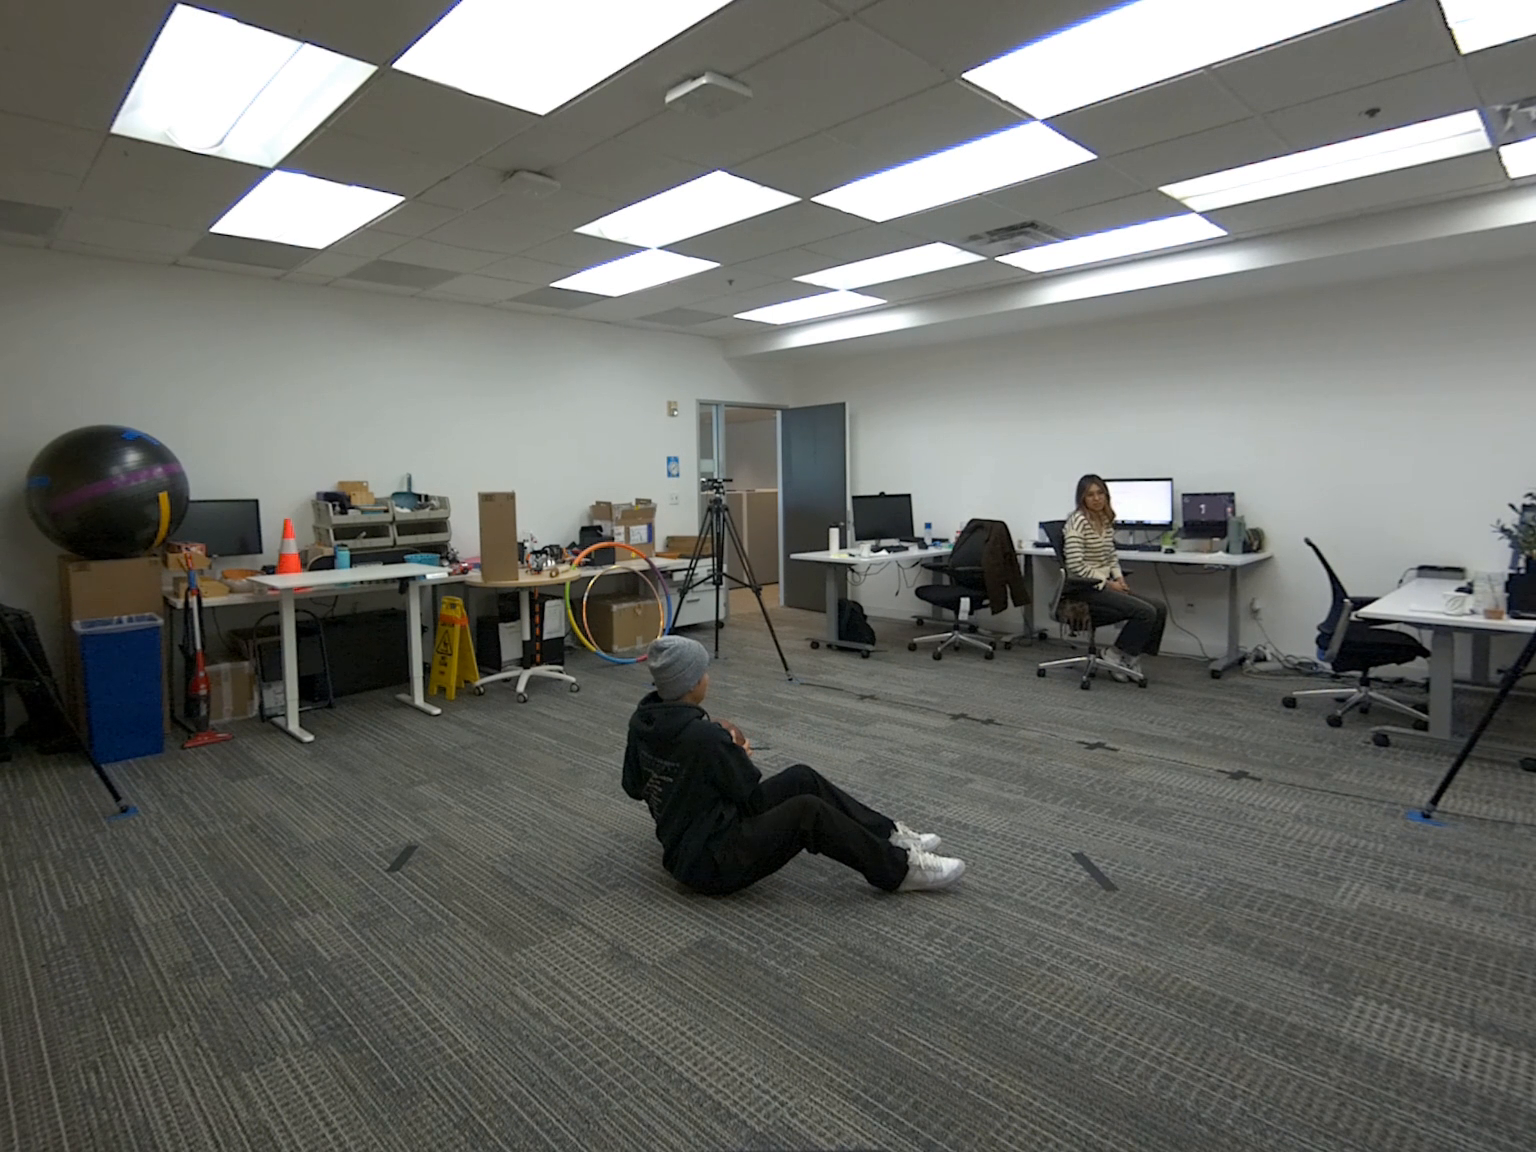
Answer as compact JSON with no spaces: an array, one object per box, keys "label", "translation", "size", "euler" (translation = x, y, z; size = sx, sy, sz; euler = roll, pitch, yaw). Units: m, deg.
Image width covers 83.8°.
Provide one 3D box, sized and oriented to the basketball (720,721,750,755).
[{"label":"basketball","translation":[-0.193,0.685,3.362],"size":[0.236,0.235,0.237],"euler":[-1,5,-2]}]
